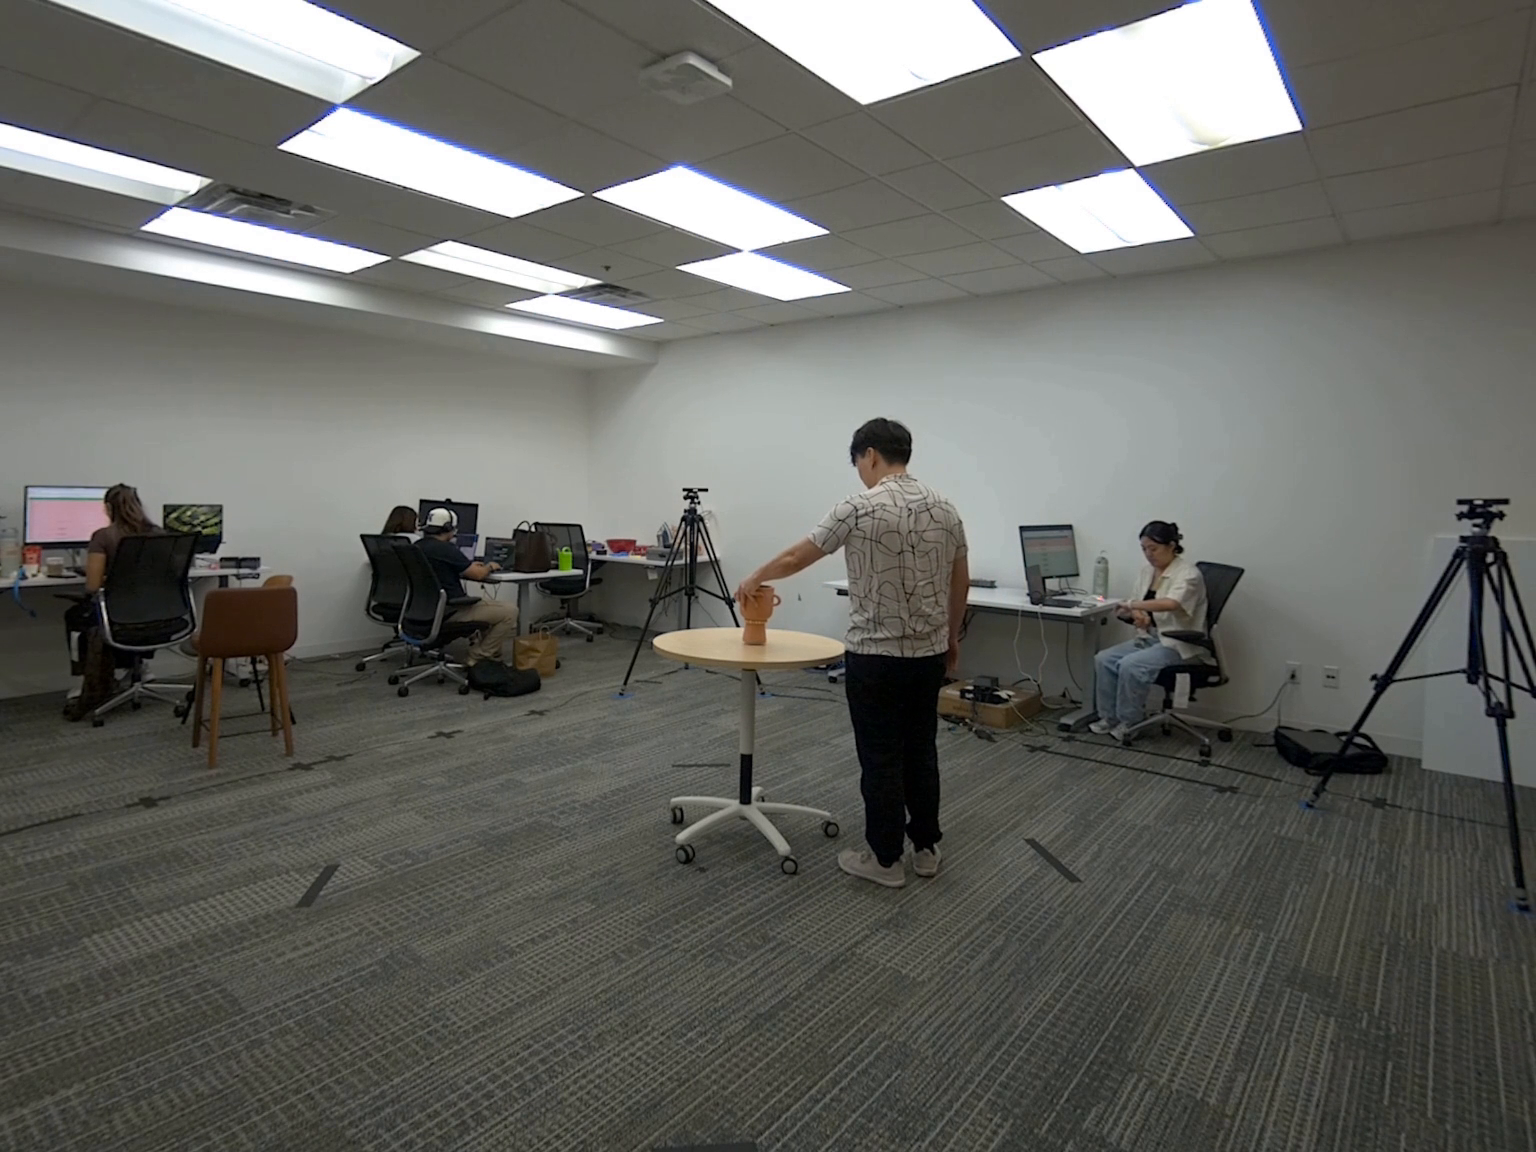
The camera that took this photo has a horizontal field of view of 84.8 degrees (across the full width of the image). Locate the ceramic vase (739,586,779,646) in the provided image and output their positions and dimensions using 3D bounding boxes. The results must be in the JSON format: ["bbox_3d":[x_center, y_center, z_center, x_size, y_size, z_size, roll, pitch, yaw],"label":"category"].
[{"bbox_3d":[-0.054,0.147,3.355,0.131,0.219,0.164,1,5,-30],"label":"ceramic vase"}]
